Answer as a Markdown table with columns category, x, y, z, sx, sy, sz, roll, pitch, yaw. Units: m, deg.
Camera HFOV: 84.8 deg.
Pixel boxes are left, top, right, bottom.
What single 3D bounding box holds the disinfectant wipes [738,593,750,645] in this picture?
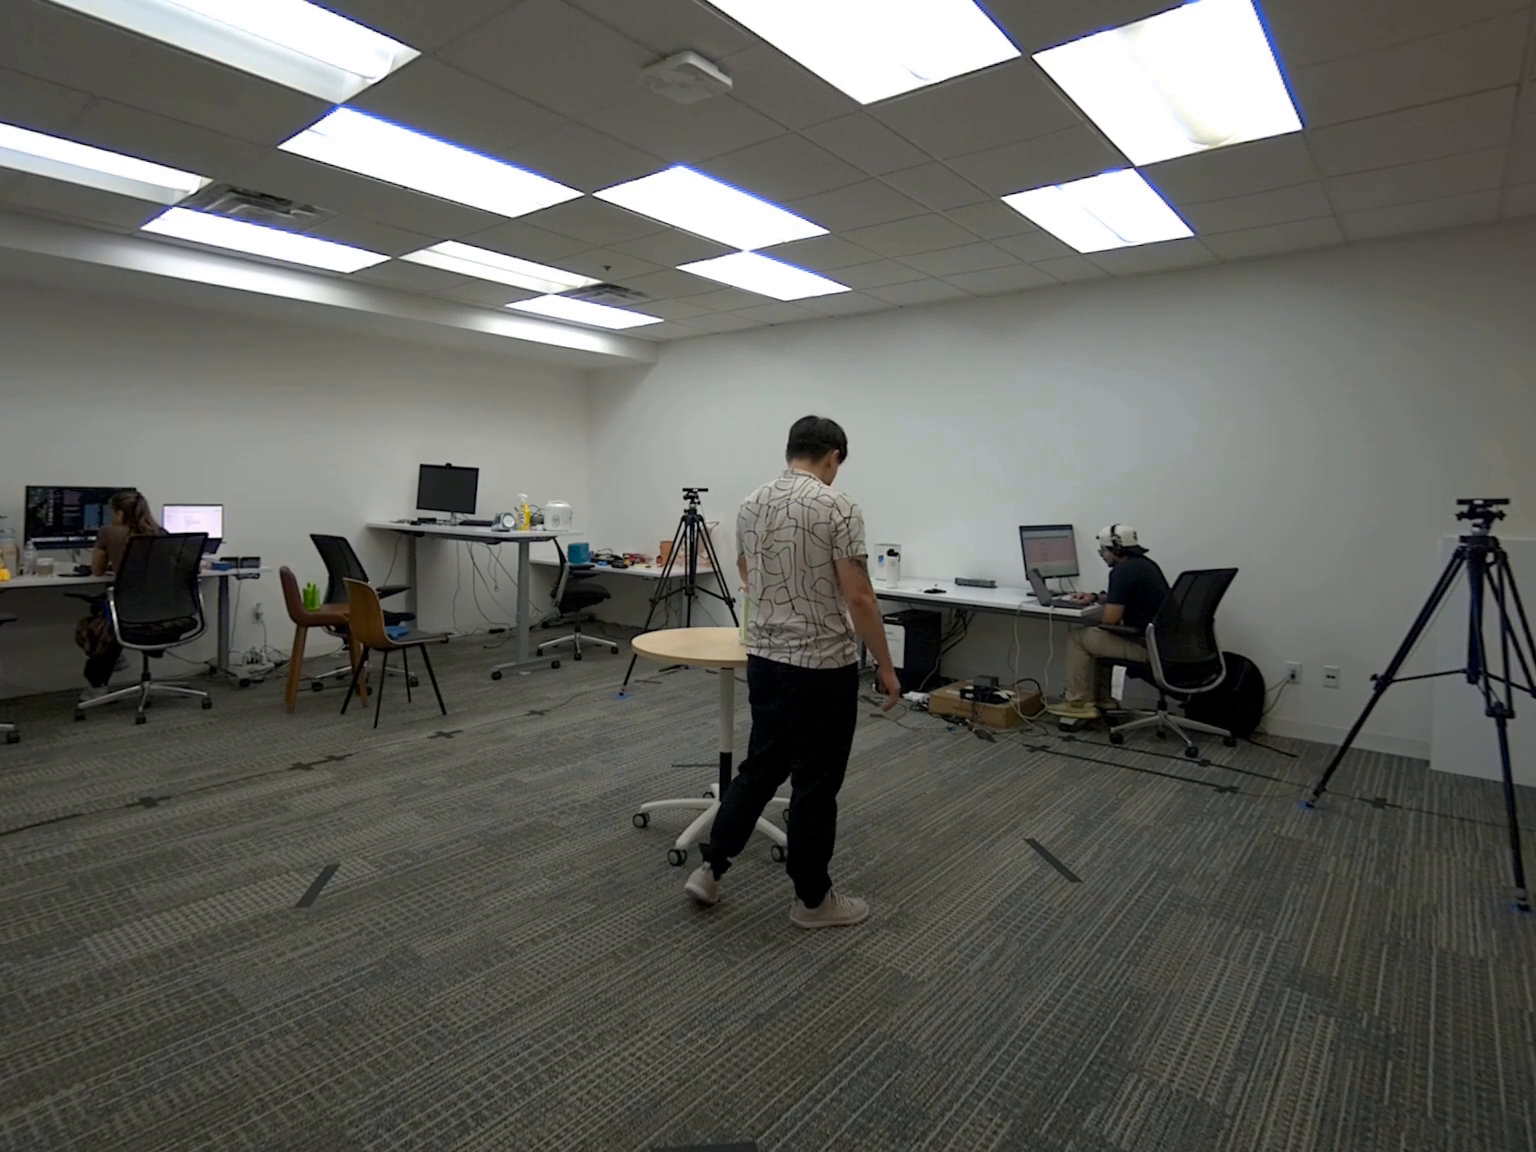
| category | x | y | z | sx | sy | sz | roll | pitch | yaw |
| --- | --- | --- | --- | --- | --- | --- | --- | --- | --- |
| disinfectant wipes | -0.071 | 0.159 | 3.363 | 0.117 | 0.217 | 0.118 | 2 | 4 | -2 |
